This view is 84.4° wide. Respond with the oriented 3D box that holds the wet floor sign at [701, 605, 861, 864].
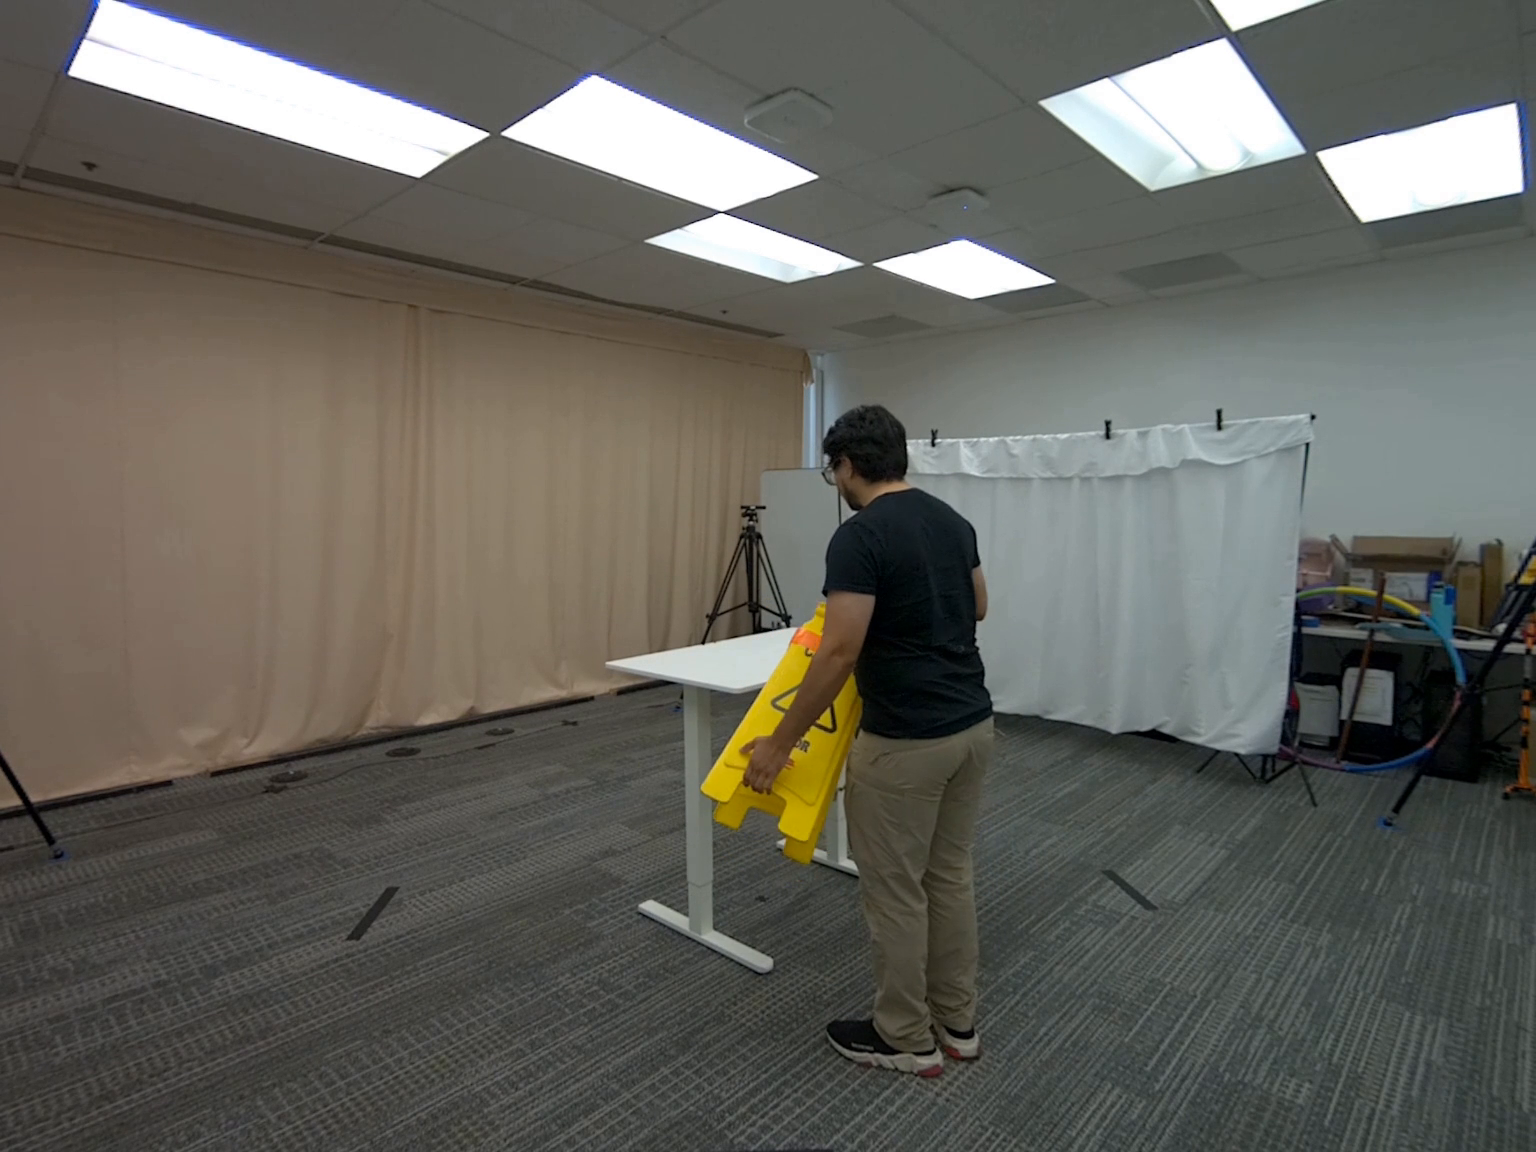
[{"bbox_3d":[0.122,0.374,2.212,0.287,0.647,0.284,20,-26,13],"label":"wet floor sign"}]
